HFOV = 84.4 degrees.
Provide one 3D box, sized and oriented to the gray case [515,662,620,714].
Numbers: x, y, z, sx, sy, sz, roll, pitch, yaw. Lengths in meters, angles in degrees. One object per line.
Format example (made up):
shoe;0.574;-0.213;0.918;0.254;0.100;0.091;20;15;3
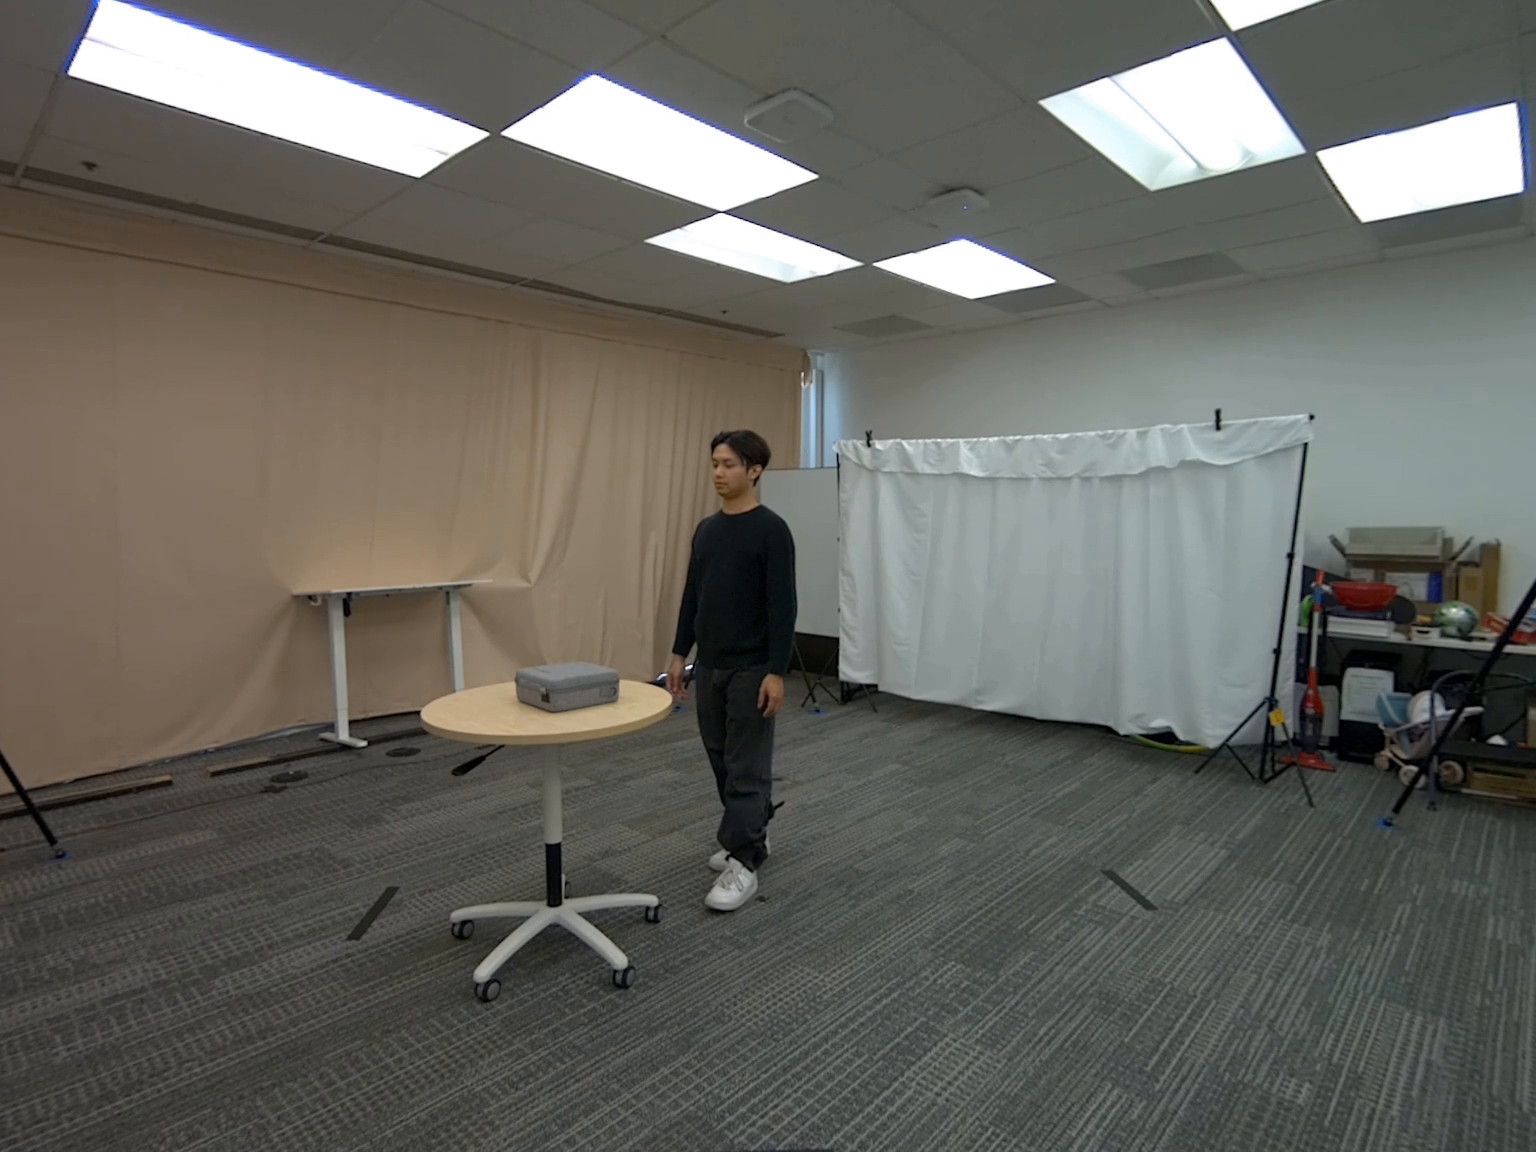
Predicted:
gray case;-0.627;0.340;2.637;0.253;0.104;0.265;-4;4;-41
